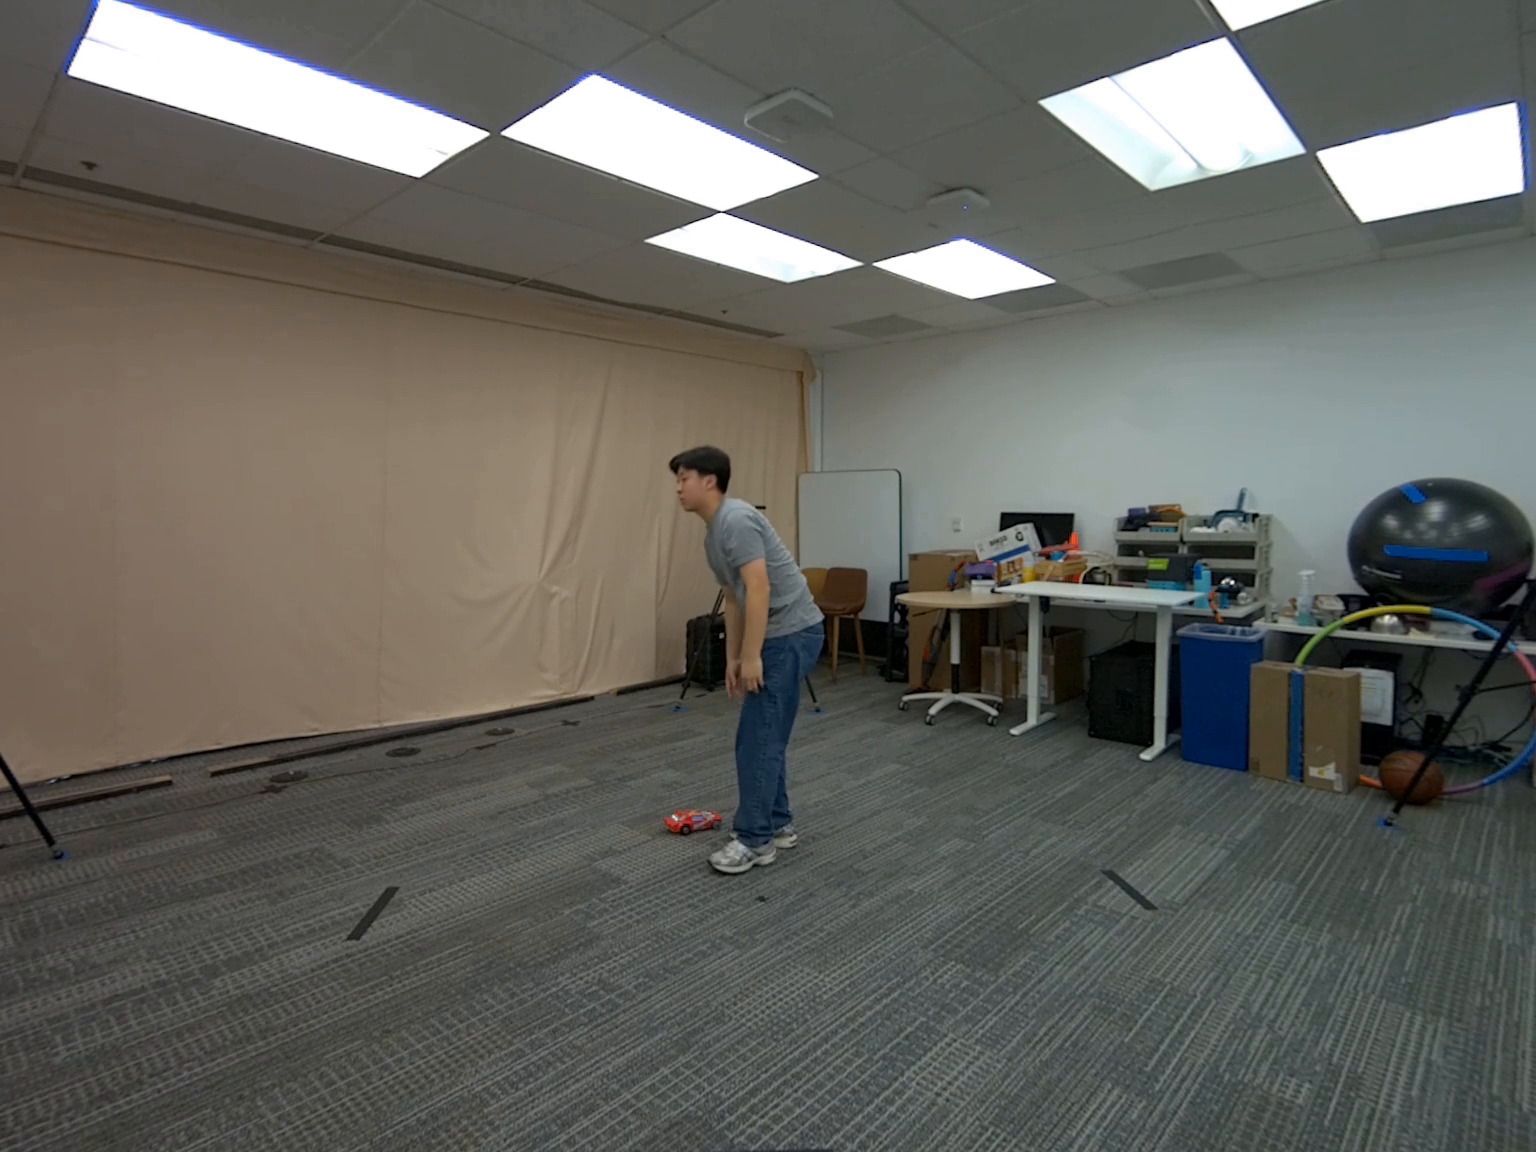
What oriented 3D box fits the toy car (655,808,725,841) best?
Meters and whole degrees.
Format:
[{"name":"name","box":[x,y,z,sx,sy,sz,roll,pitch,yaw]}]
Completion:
[{"name":"toy car","box":[-0.336,1.062,3.627,0.248,0.083,0.133,11,-2,-24]}]
